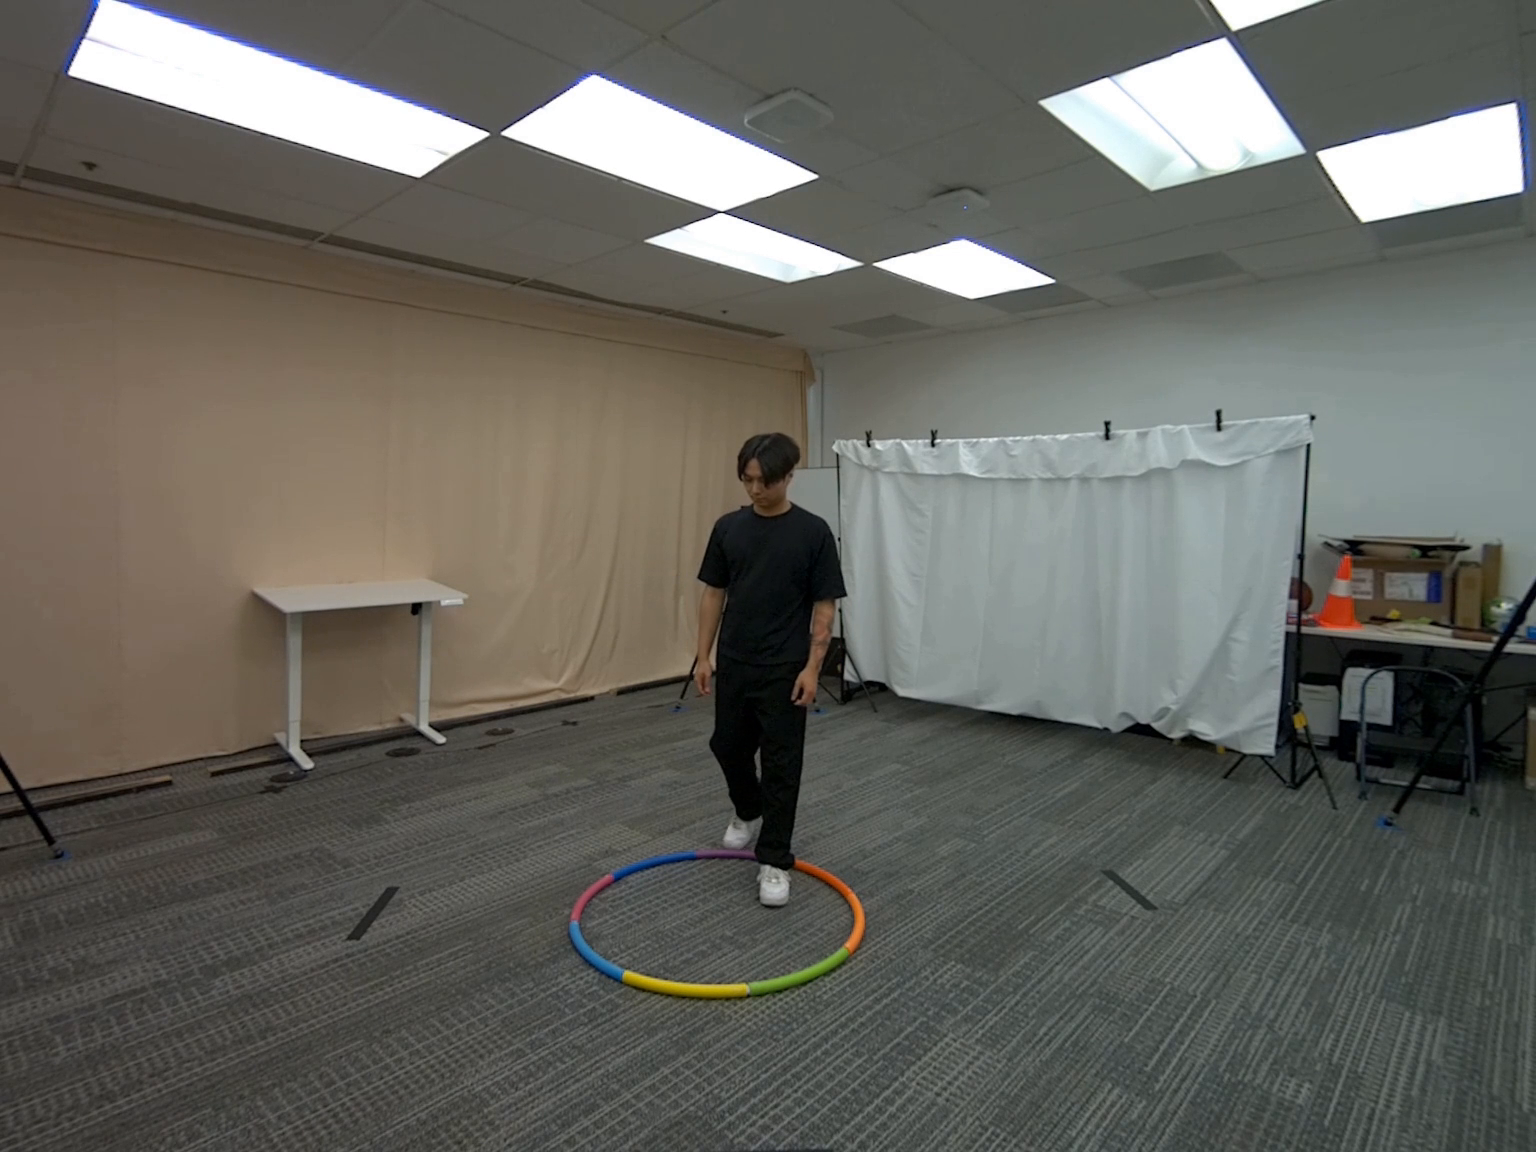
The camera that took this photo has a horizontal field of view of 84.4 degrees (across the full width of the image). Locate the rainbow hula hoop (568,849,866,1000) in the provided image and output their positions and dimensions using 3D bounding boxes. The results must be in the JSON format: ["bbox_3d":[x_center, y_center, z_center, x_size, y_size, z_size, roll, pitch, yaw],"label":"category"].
[{"bbox_3d":[-0.171,1.127,2.860,0.978,0.035,0.982,0,4,-2],"label":"rainbow hula hoop"}]
